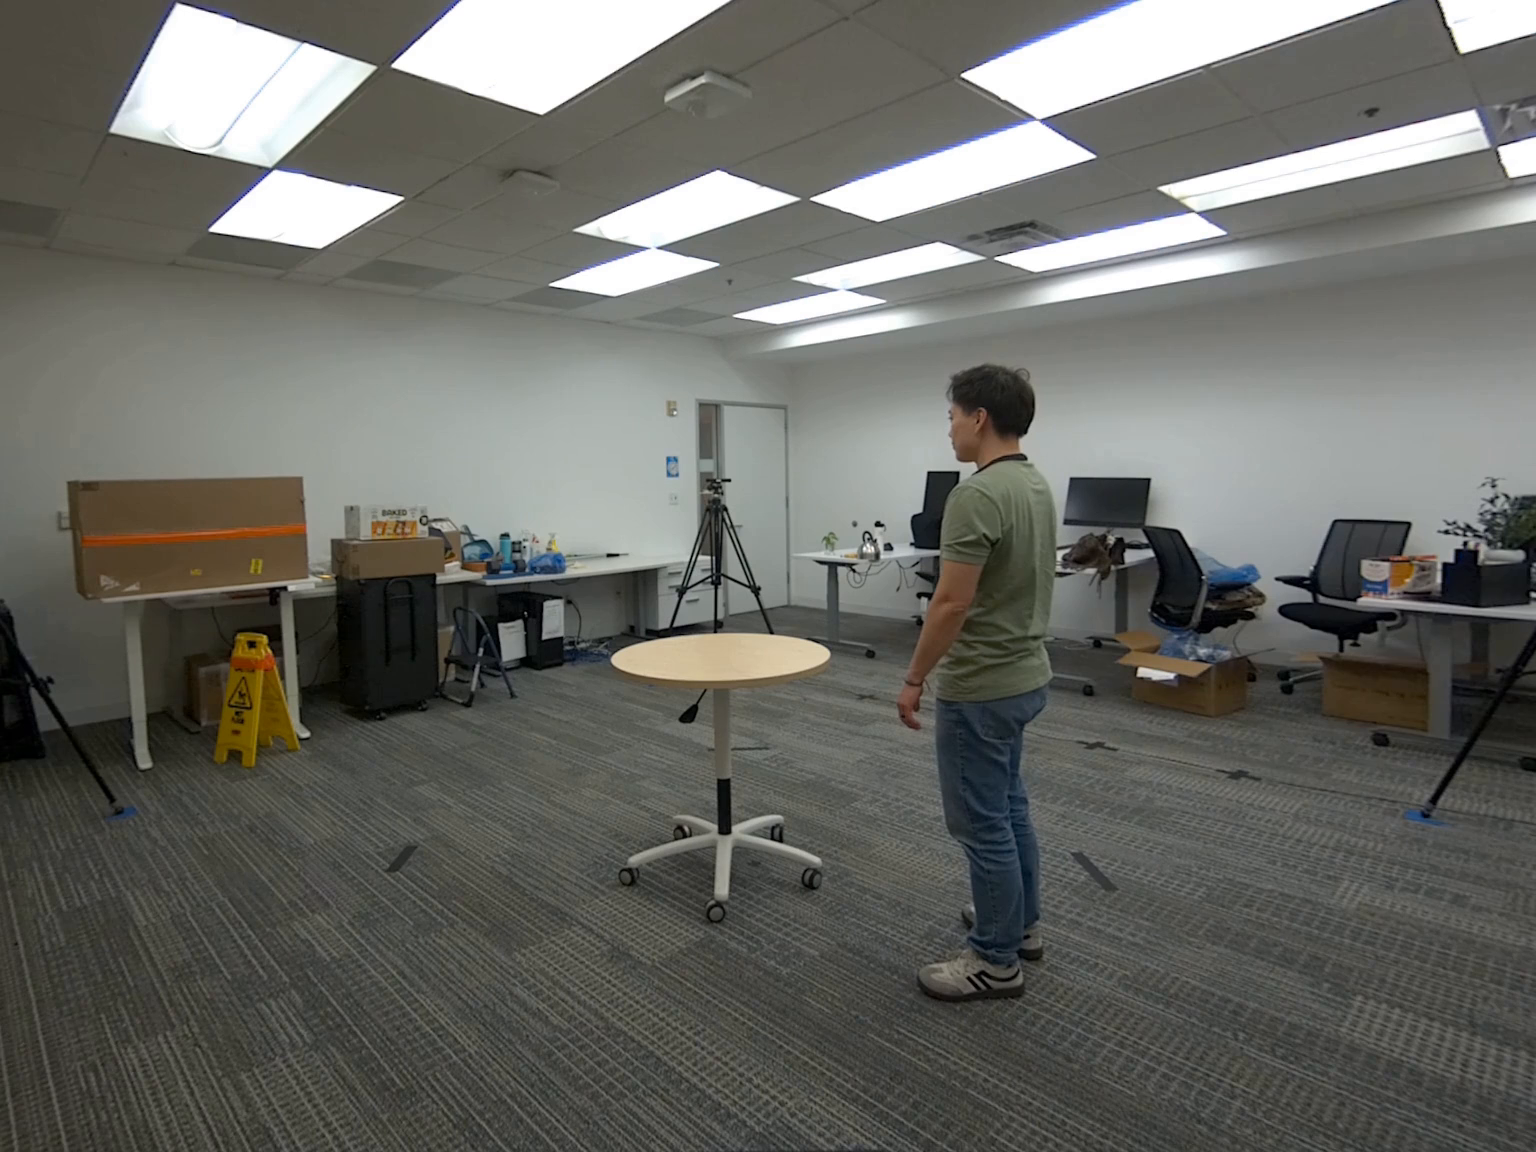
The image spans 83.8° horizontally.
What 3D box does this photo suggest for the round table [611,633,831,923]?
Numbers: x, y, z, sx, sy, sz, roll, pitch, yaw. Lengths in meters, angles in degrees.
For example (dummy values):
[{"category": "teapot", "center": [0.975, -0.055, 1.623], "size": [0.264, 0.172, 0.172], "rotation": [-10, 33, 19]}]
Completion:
[{"category": "round table", "center": [-0.156, 0.668, 3.028], "size": [0.763, 0.790, 0.768], "rotation": [-1, 5, -2]}]
